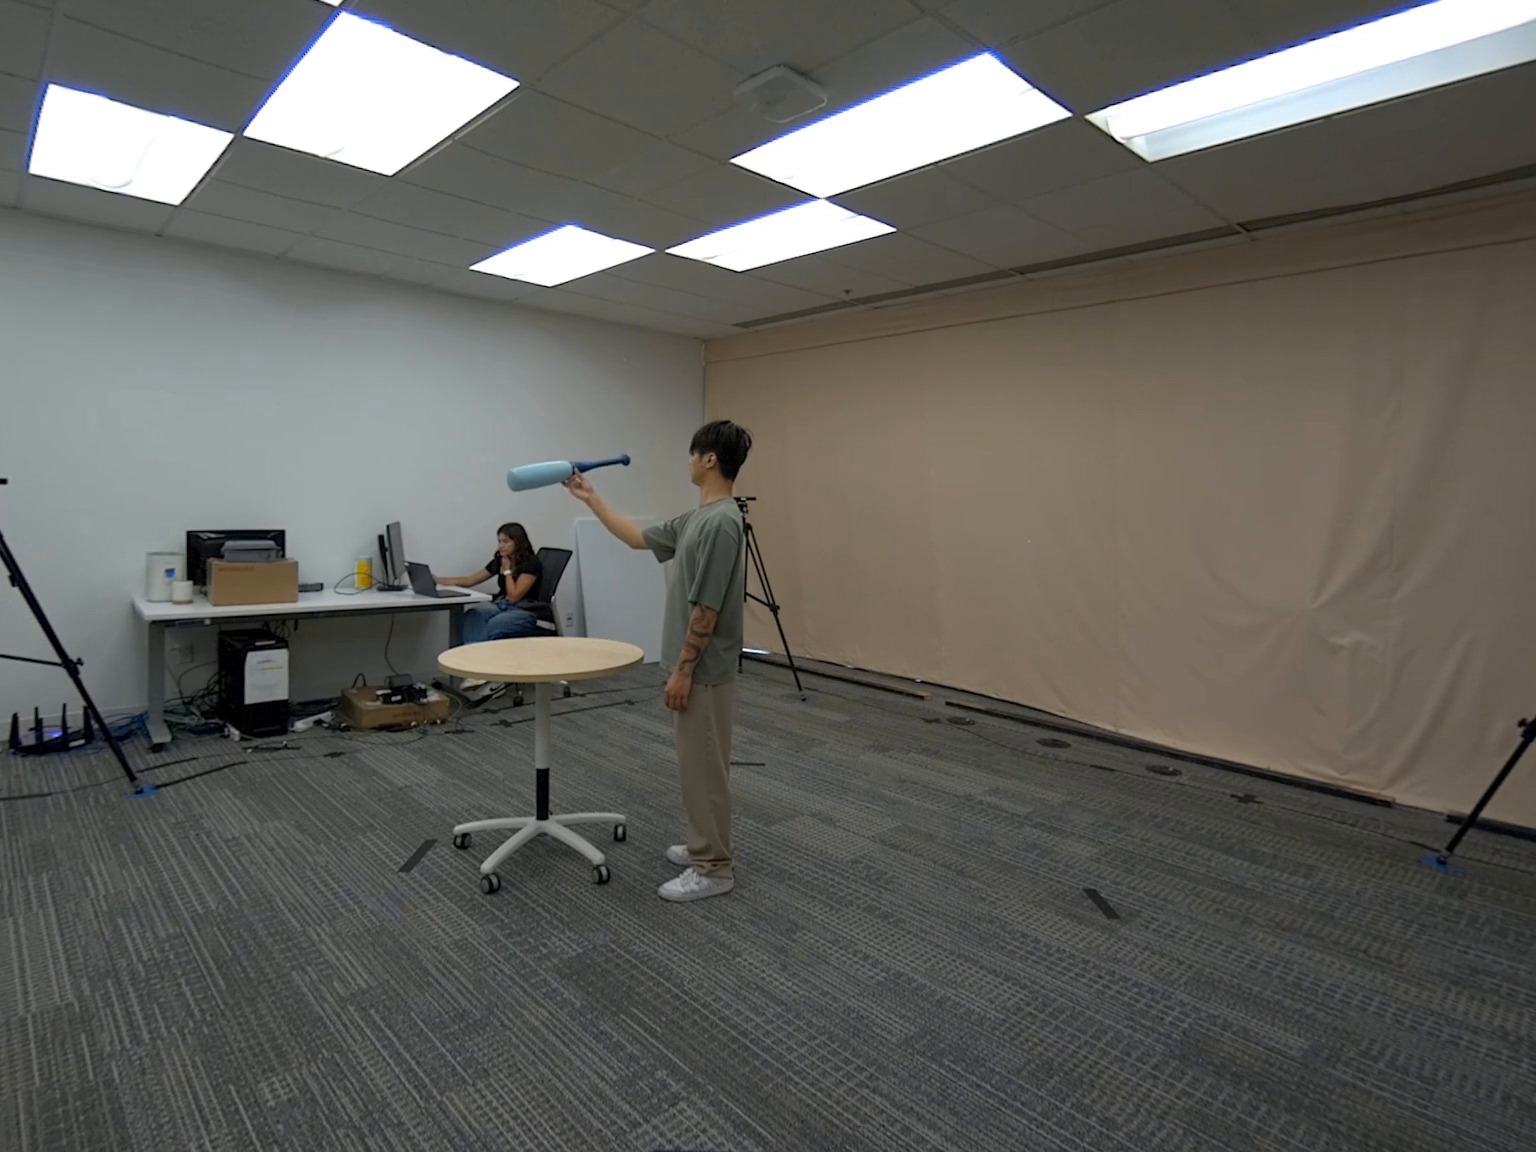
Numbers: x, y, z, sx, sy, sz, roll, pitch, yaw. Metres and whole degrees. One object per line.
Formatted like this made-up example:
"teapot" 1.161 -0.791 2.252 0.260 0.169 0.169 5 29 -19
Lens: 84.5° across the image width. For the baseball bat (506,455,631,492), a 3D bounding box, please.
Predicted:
"baseball bat" -0.761 -0.405 3.240 0.091 0.088 0.534 5 18 43
